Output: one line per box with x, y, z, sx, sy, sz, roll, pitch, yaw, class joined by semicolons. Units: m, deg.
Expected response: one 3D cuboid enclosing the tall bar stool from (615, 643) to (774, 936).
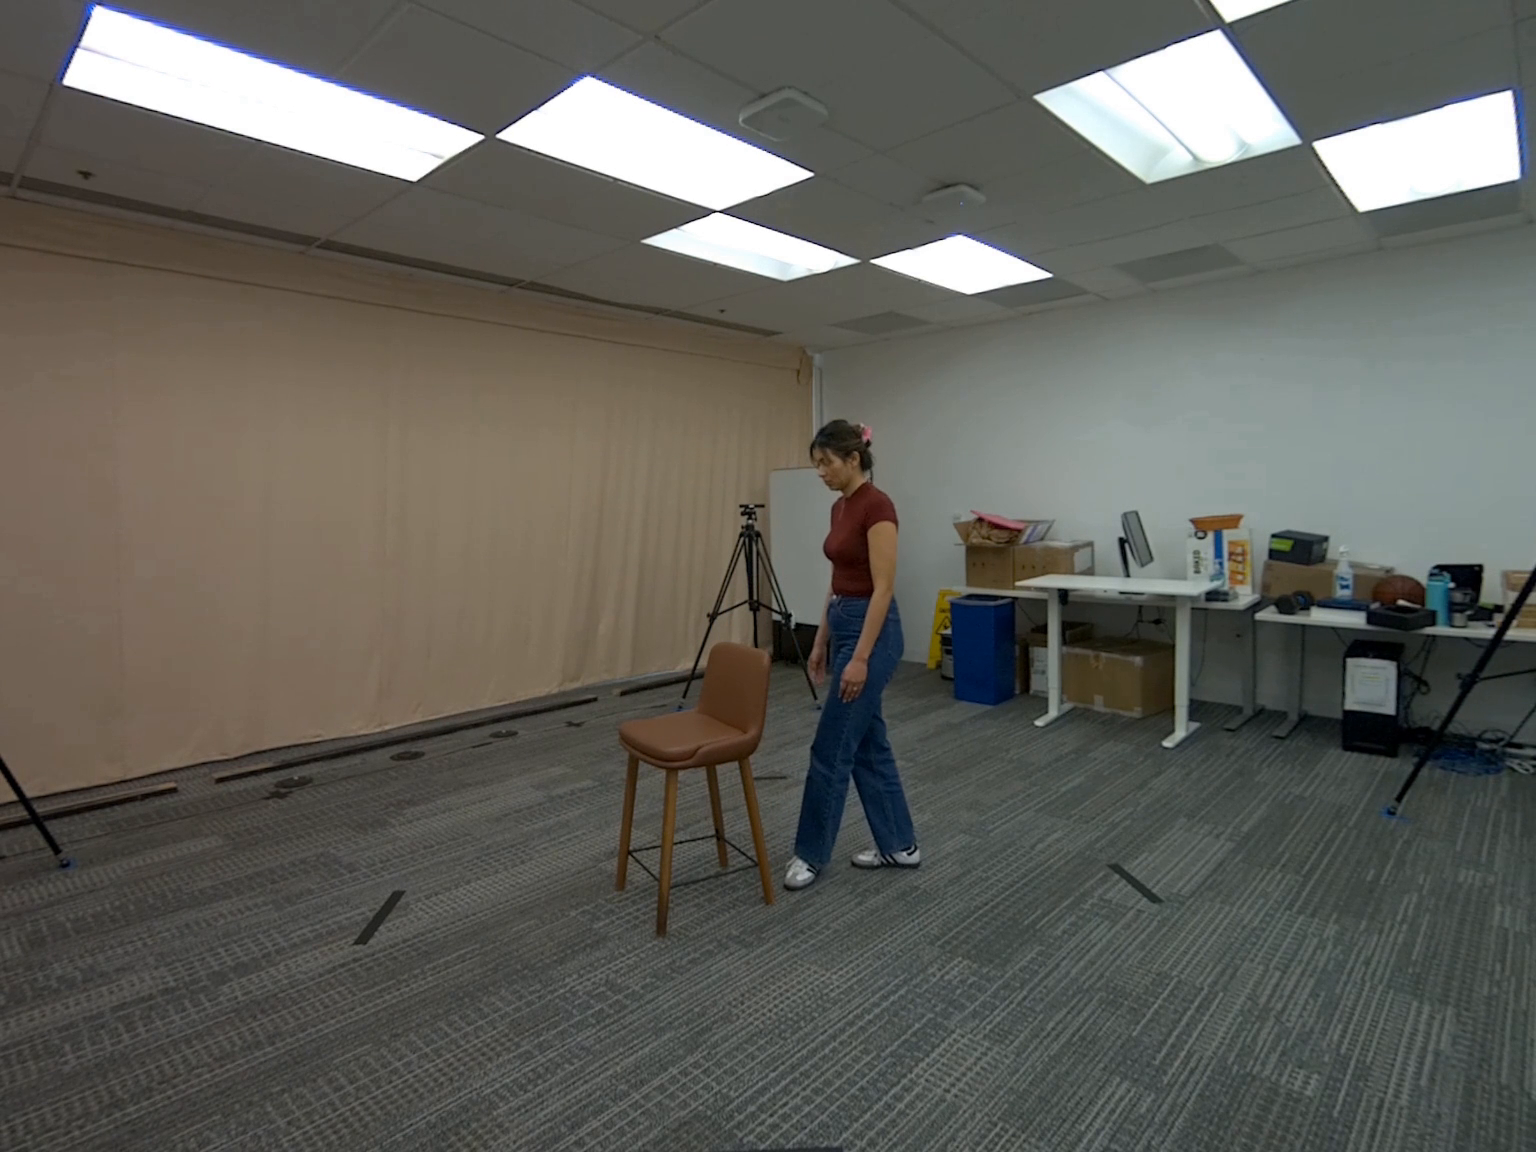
-0.259;0.707;2.977;0.455;0.888;0.470;-1;3;-29;tall bar stool
